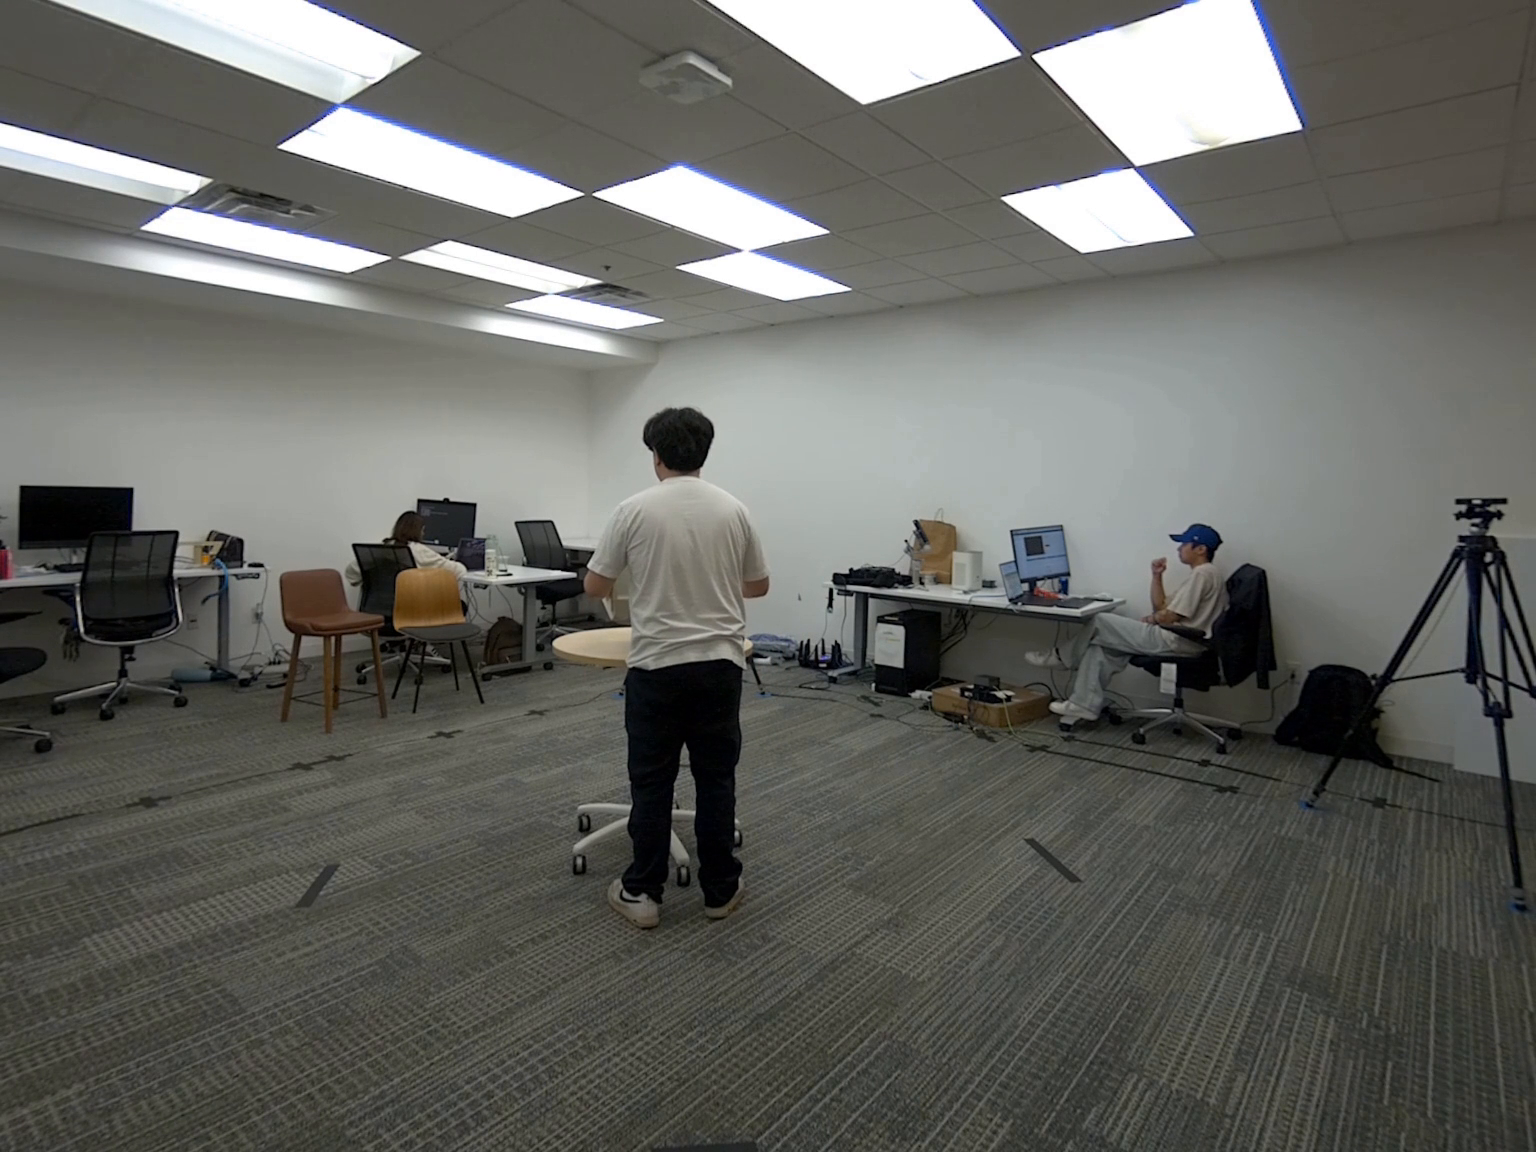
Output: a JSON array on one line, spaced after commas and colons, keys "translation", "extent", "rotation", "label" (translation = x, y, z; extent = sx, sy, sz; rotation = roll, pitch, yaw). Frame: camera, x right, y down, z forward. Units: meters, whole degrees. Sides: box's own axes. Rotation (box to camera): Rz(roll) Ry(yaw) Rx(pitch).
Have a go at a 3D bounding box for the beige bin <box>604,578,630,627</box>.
[{"translation": [-0.410, 0.051, 3.204], "extent": [0.416, 0.187, 0.386], "rotation": [-1, 11, -15], "label": "beige bin"}]
